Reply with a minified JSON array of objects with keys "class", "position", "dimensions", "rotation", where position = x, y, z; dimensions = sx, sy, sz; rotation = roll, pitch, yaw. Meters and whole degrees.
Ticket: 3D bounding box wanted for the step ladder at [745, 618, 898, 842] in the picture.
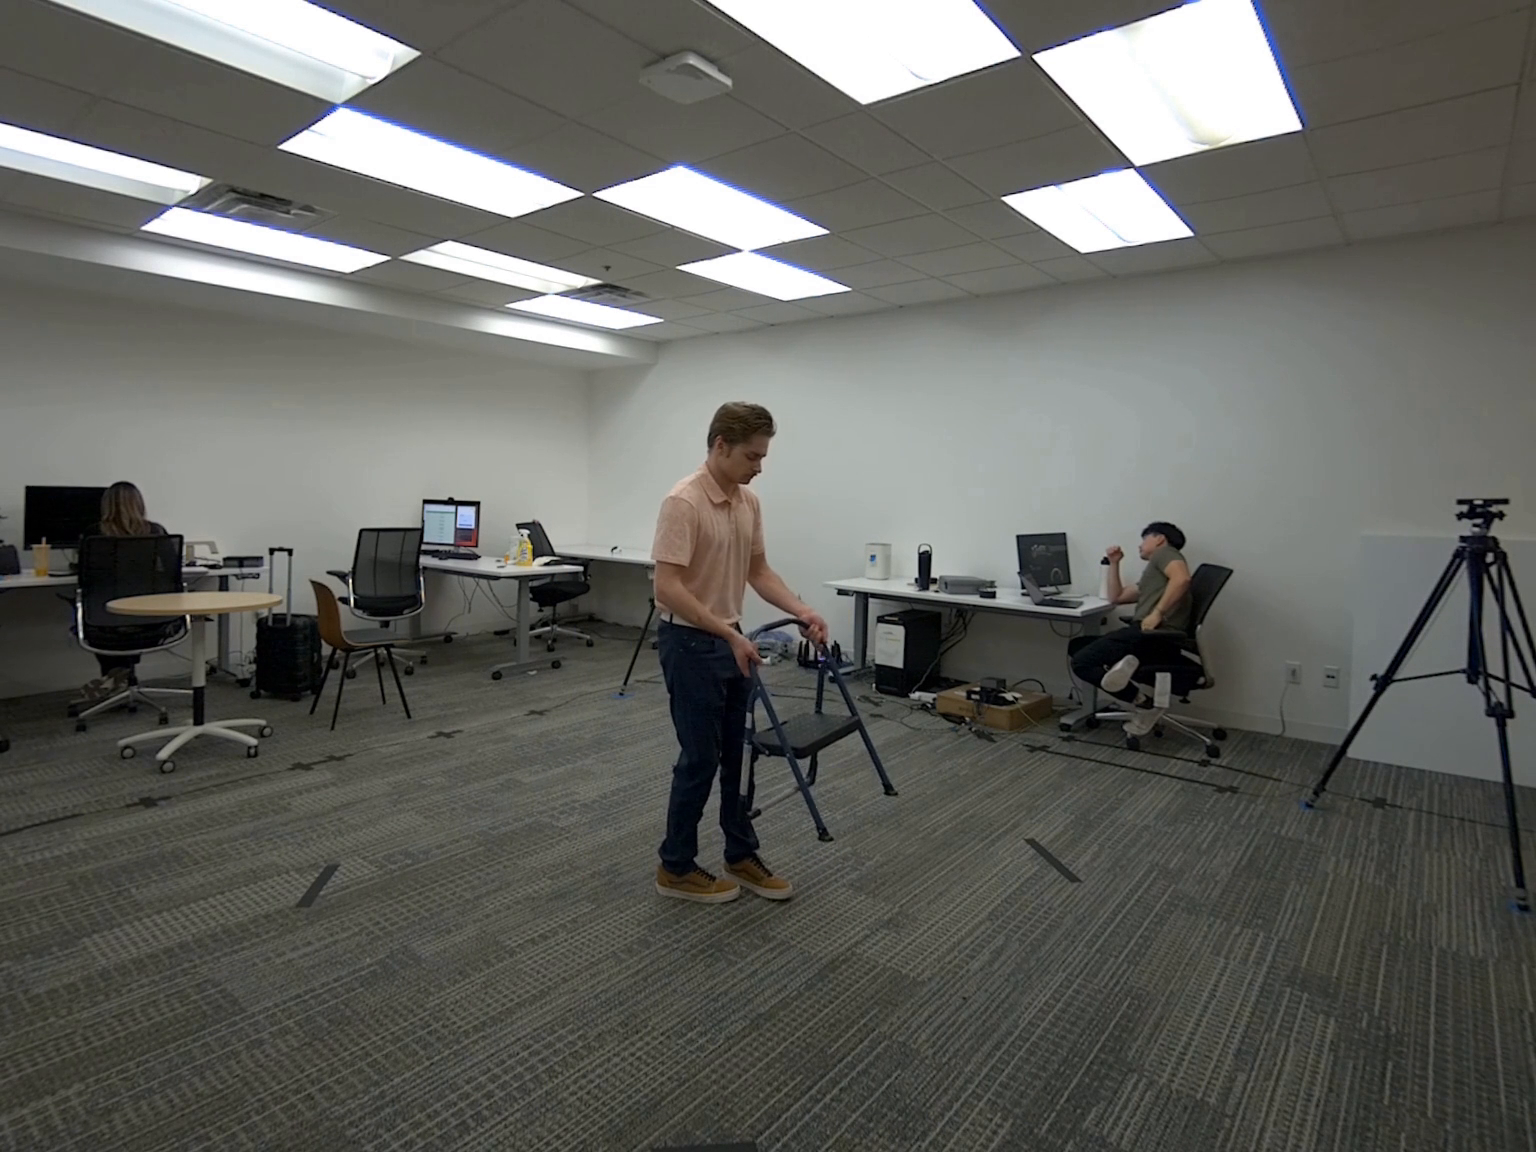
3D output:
[{"class":"step ladder","position":[0.117,0.445,2.714],"dimensions":[0.359,0.605,0.419],"rotation":[-6,2,39]}]
